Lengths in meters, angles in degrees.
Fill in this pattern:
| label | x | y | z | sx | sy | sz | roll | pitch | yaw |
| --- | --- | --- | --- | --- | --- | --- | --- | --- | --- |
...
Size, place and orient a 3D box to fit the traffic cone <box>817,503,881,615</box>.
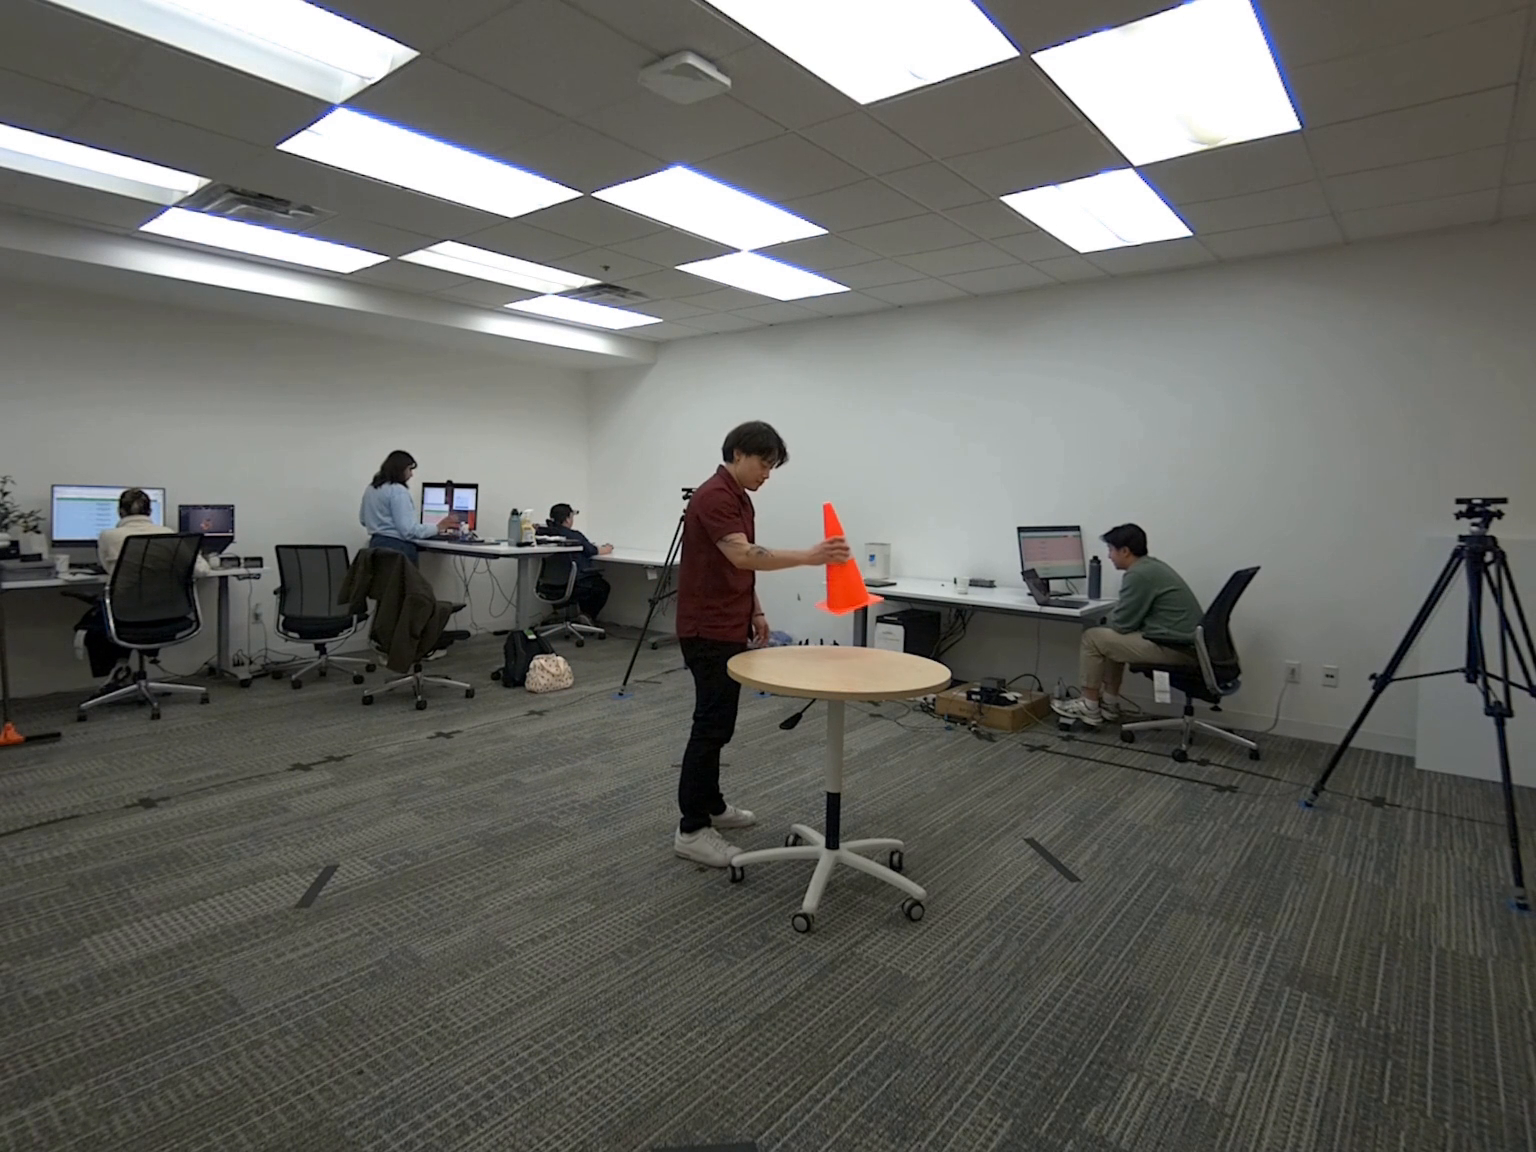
| label | x | y | z | sx | sy | sz | roll | pitch | yaw |
| --- | --- | --- | --- | --- | --- | --- | --- | --- | --- |
| traffic cone | 0.241 | -0.080 | 3.096 | 0.209 | 0.379 | 0.201 | -4 | 14 | 44 |
